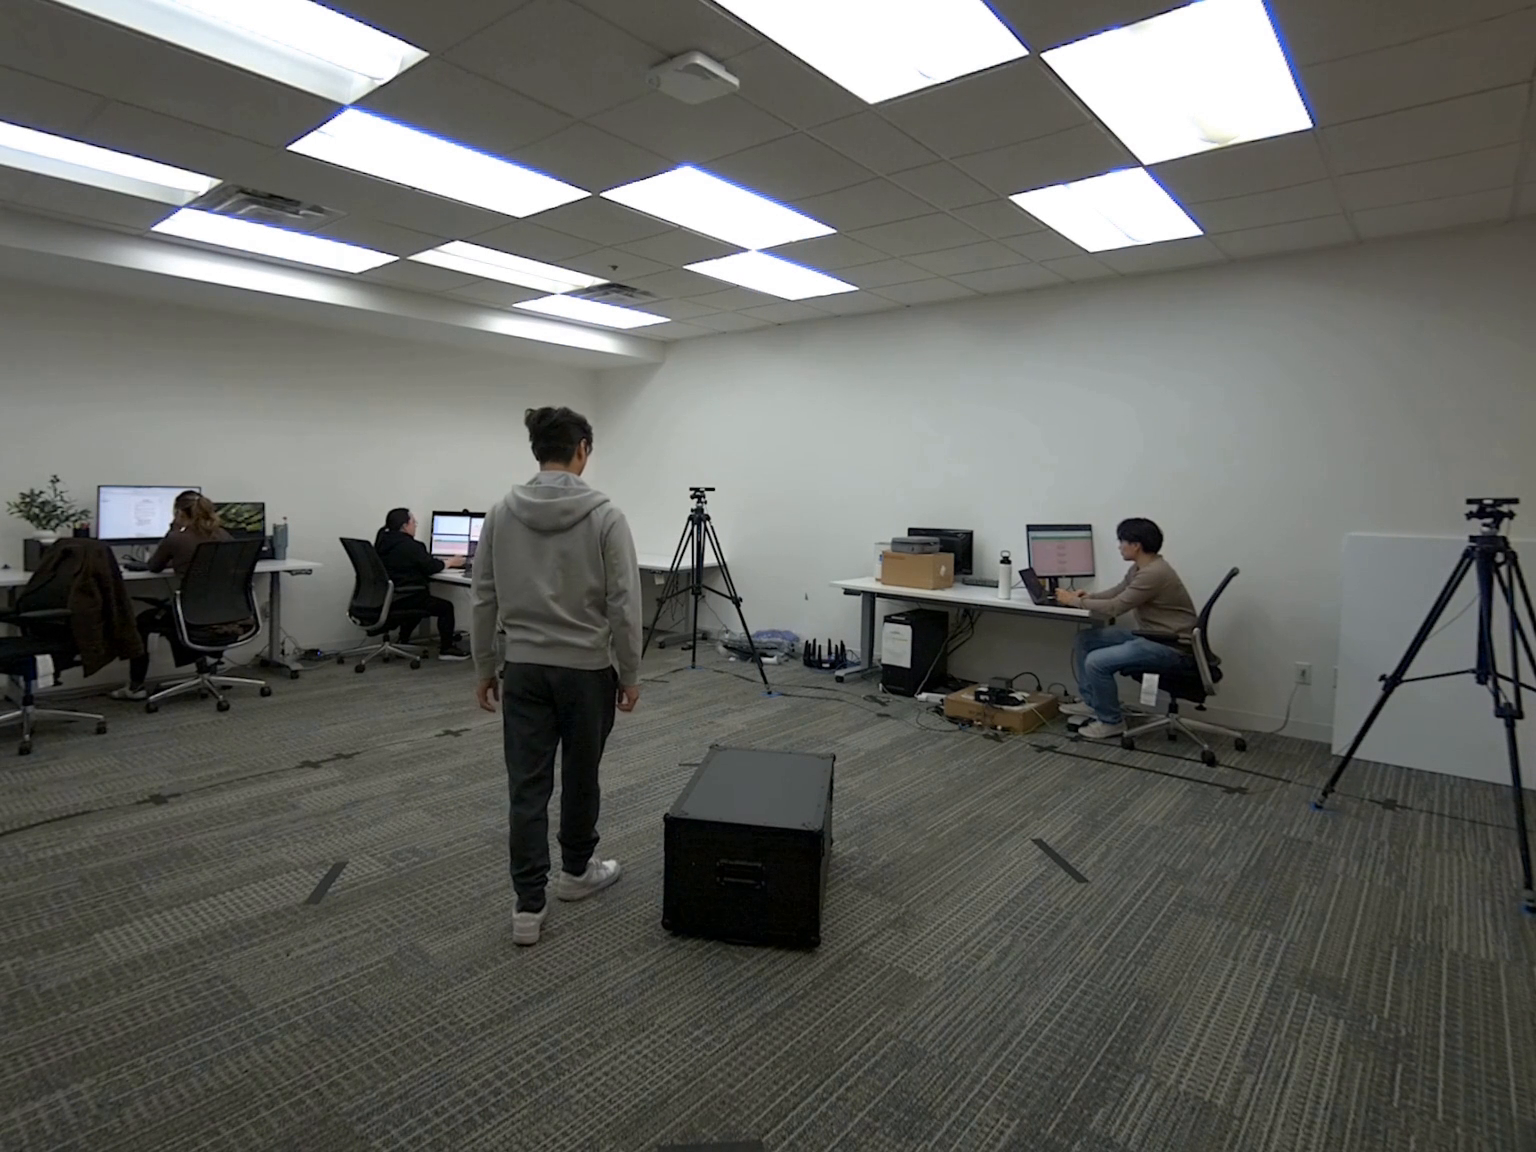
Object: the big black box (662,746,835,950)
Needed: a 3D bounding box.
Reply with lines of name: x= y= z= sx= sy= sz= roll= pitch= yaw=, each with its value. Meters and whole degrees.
big black box: x=-0.035 y=0.887 z=2.981 sx=0.527 sy=0.394 sz=0.857 roll=1 pitch=6 yaw=8
